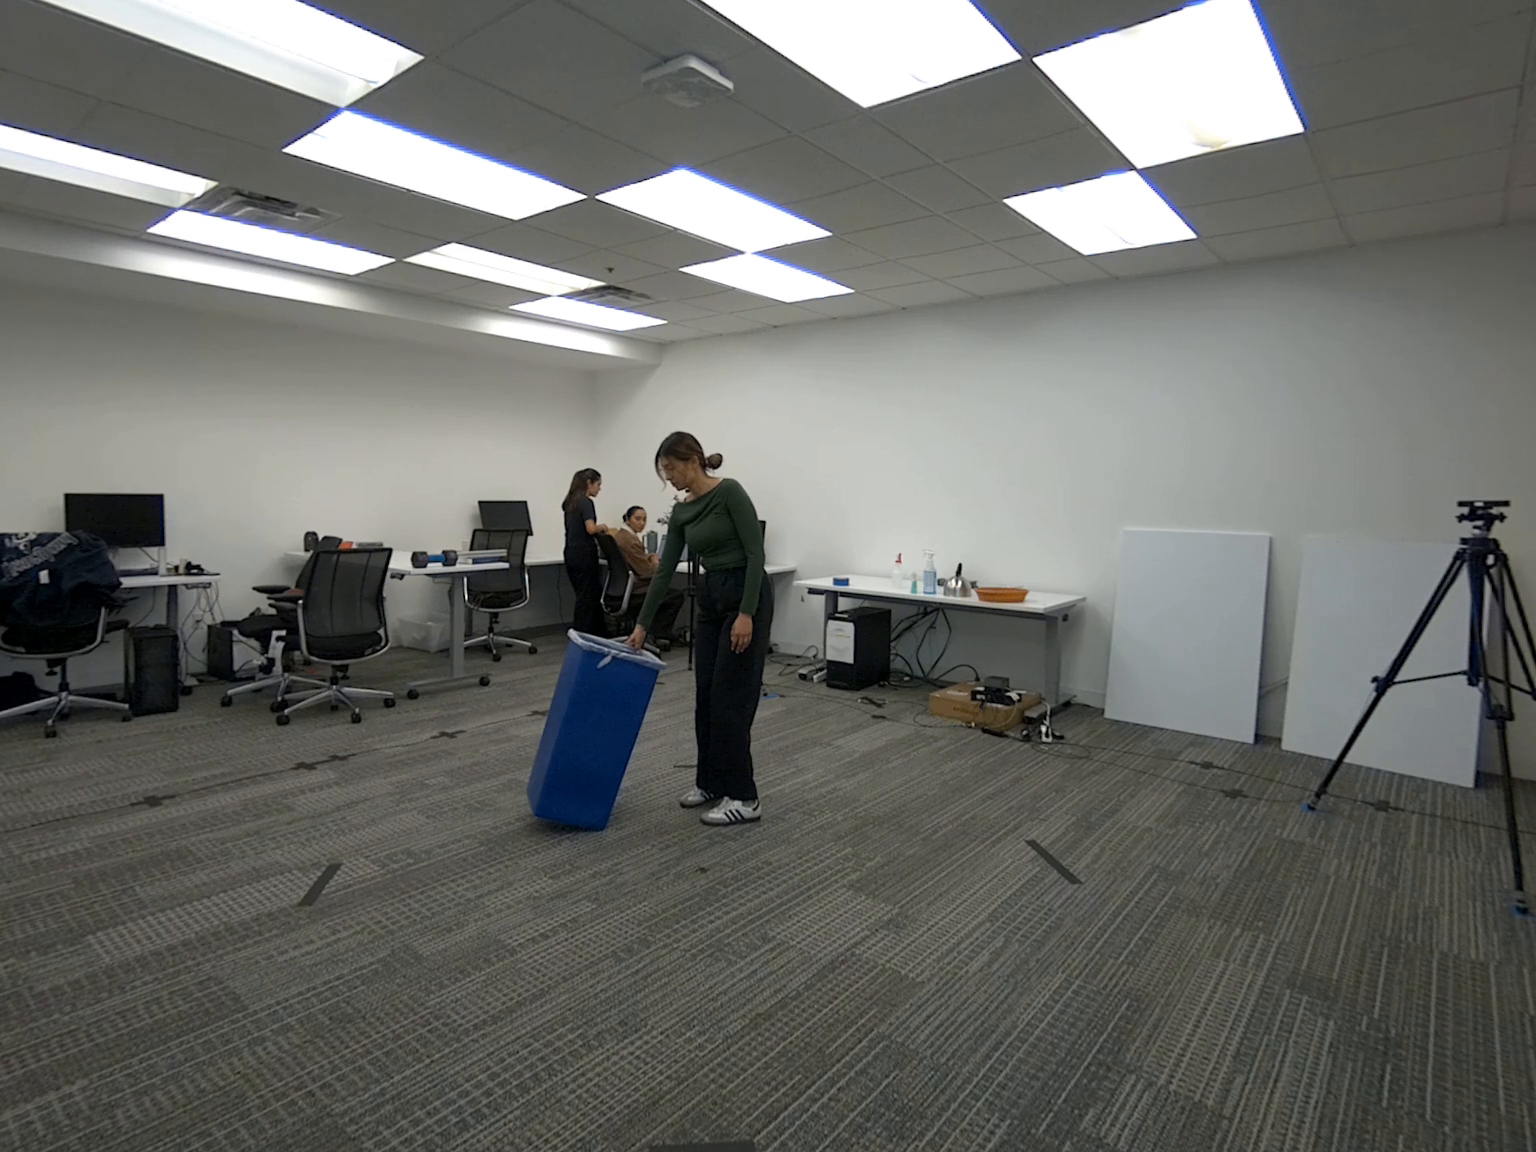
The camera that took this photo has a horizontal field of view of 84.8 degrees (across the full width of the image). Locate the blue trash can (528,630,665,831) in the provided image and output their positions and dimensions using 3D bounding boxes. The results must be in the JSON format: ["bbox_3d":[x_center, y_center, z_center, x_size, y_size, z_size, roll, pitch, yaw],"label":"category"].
[{"bbox_3d":[-0.761,0.636,3.569,0.364,0.715,0.387,19,-4,-22],"label":"blue trash can"}]
